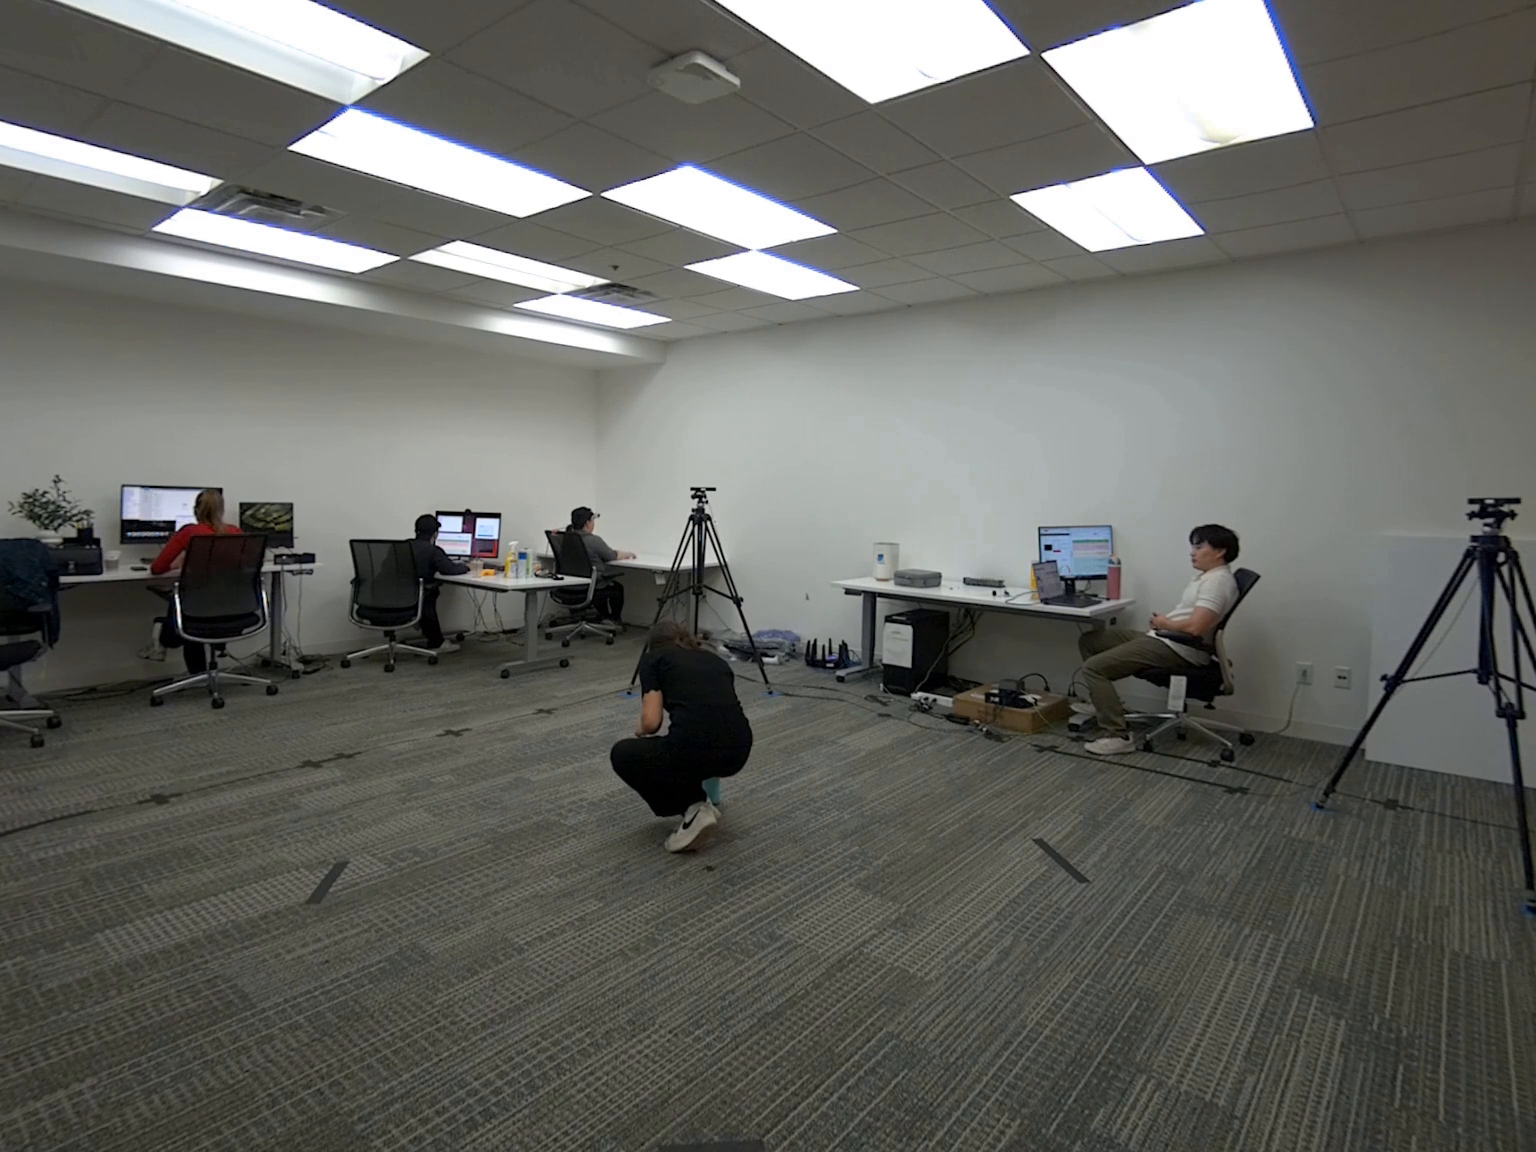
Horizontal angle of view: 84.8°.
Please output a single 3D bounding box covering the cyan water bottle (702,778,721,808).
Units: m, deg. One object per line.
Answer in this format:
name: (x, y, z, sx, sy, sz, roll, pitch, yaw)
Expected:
cyan water bottle: (-0.270, 0.856, 3.770, 0.092, 0.284, 0.092, -3, -1, -2)
